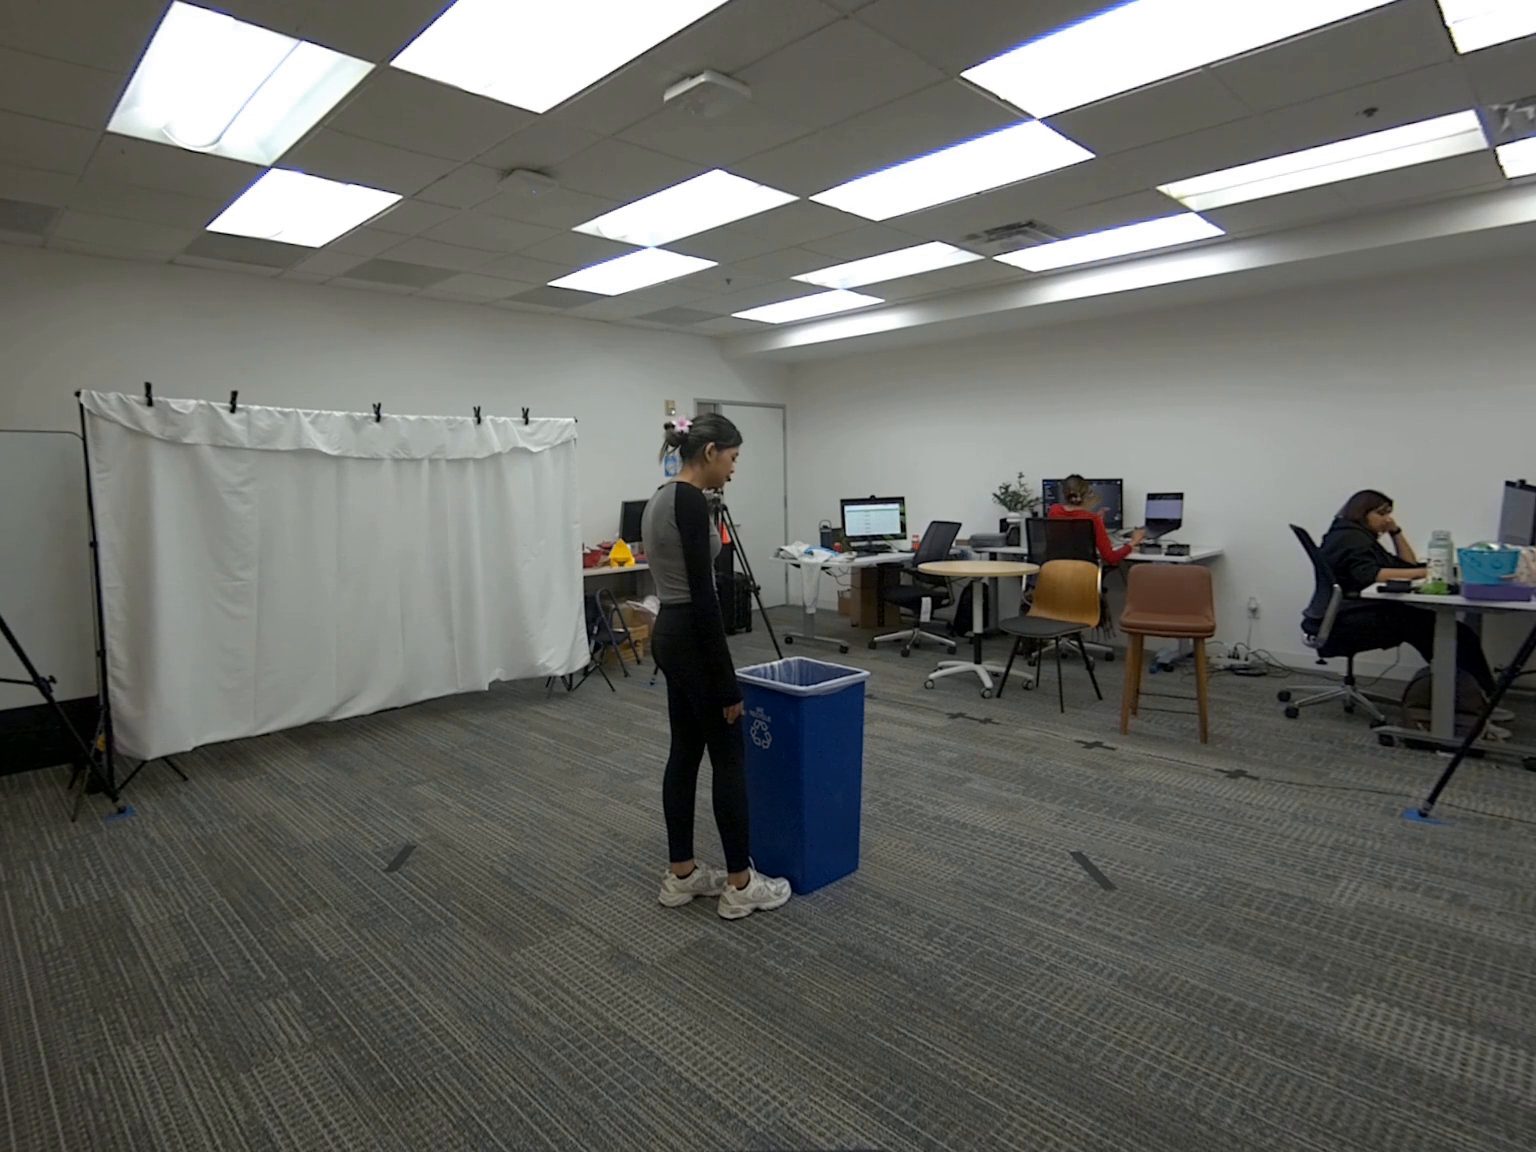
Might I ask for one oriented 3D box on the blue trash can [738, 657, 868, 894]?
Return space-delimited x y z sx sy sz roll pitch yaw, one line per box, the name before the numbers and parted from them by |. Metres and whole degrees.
blue trash can | 0.124 0.690 3.033 0.368 0.711 0.385 -5 6 -43
